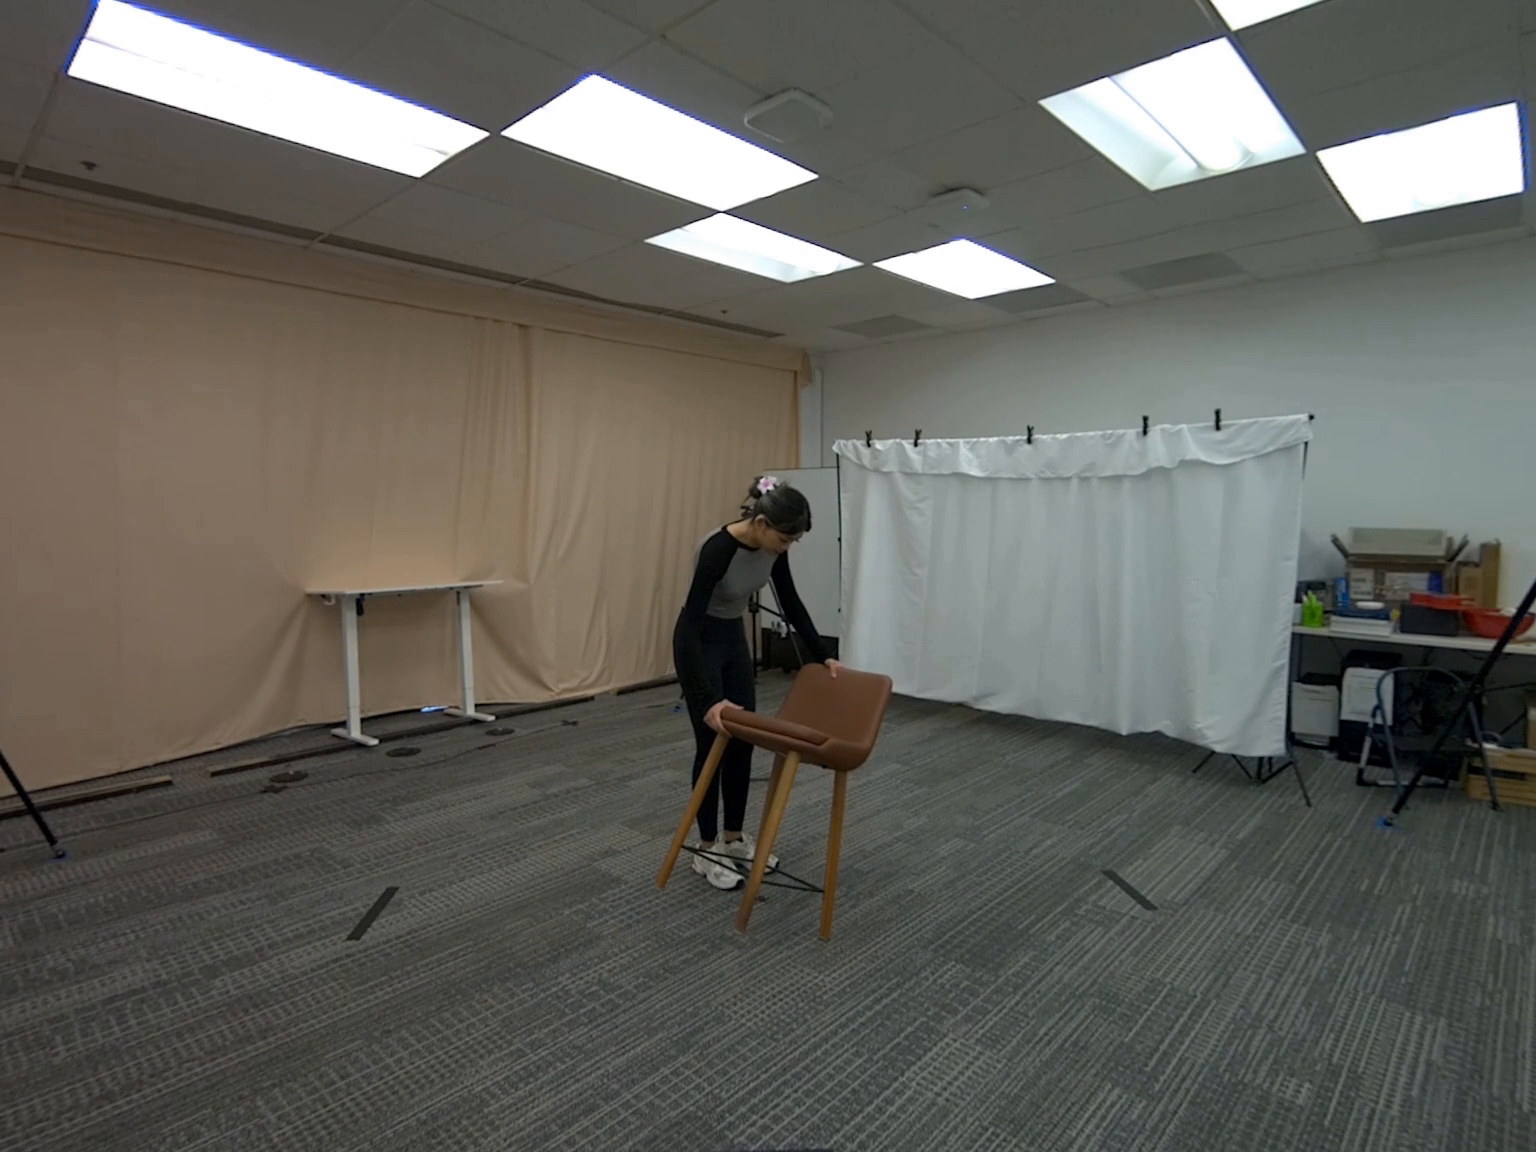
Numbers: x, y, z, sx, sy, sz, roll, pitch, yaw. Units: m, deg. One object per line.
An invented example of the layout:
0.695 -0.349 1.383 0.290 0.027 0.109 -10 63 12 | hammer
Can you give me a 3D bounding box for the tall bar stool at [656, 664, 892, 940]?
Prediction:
0.054 0.682 2.790 0.472 0.893 0.451 4 -19 47 | tall bar stool
